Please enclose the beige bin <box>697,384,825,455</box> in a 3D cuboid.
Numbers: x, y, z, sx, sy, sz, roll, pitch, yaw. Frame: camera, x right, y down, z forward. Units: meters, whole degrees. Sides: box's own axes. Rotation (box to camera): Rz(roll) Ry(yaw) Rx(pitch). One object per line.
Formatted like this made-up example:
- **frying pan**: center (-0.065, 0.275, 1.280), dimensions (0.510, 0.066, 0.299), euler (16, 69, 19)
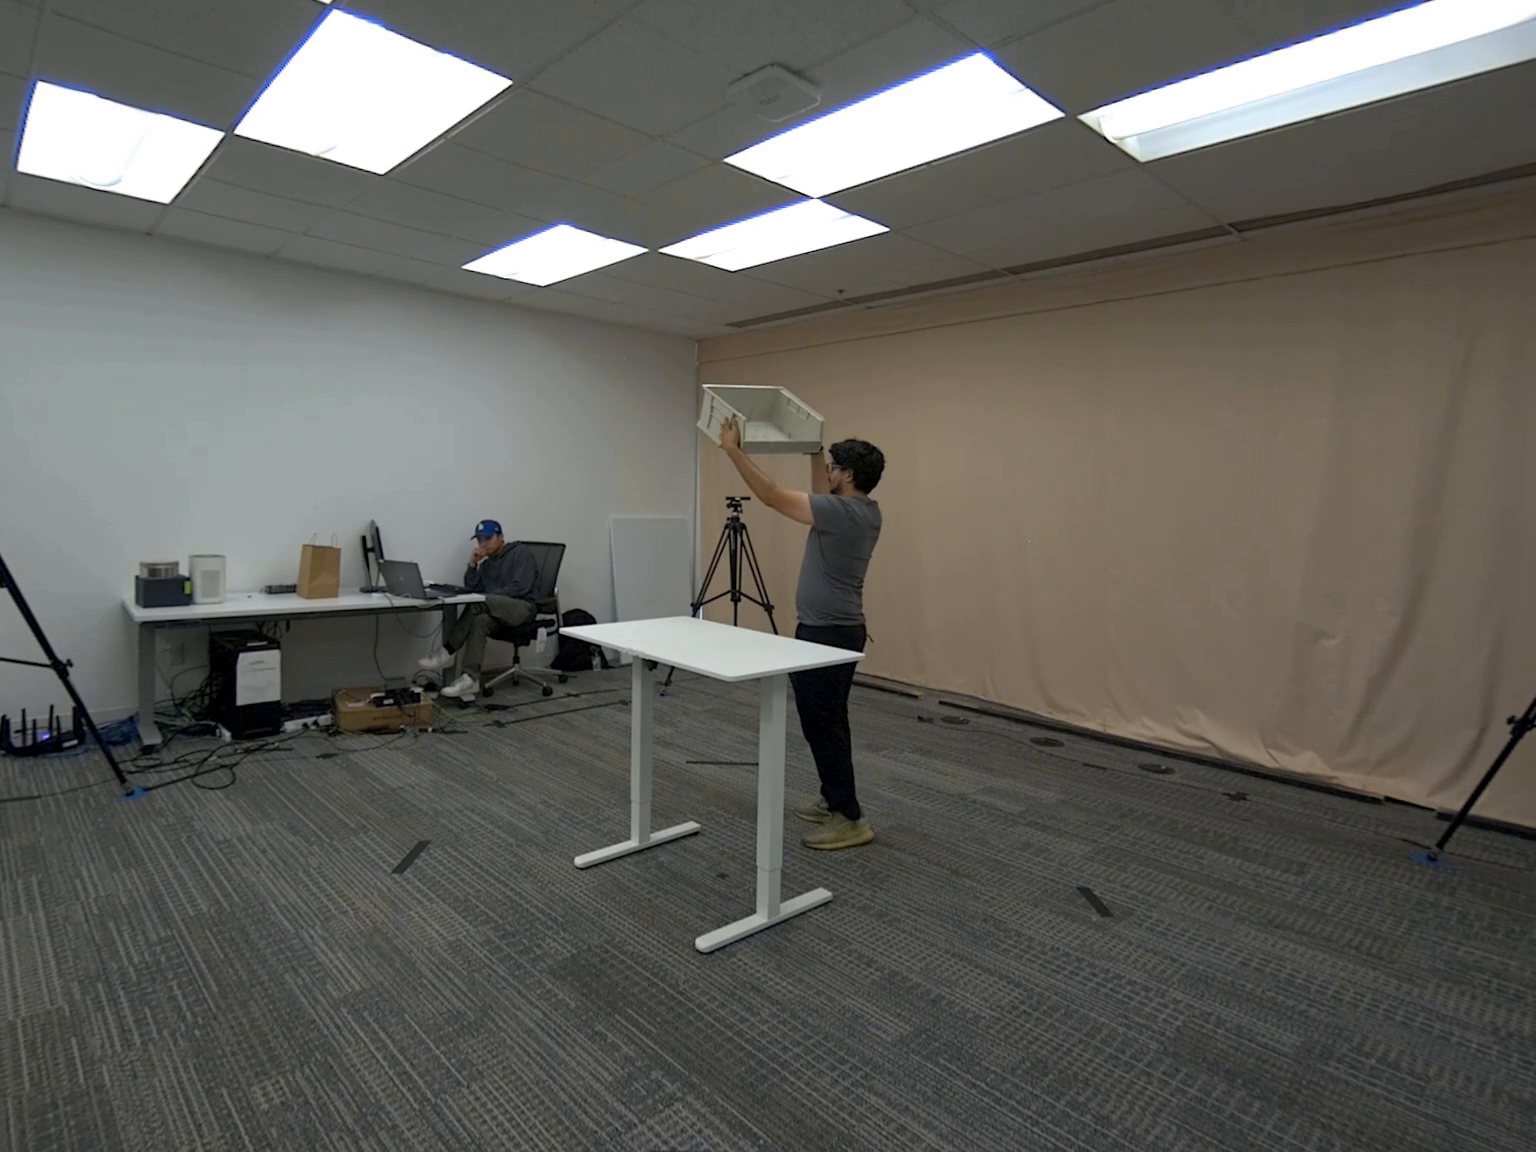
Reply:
- **beige bin**: center (-0.042, -0.661, 3.617), dimensions (0.414, 0.186, 0.390), euler (-6, 35, -33)
